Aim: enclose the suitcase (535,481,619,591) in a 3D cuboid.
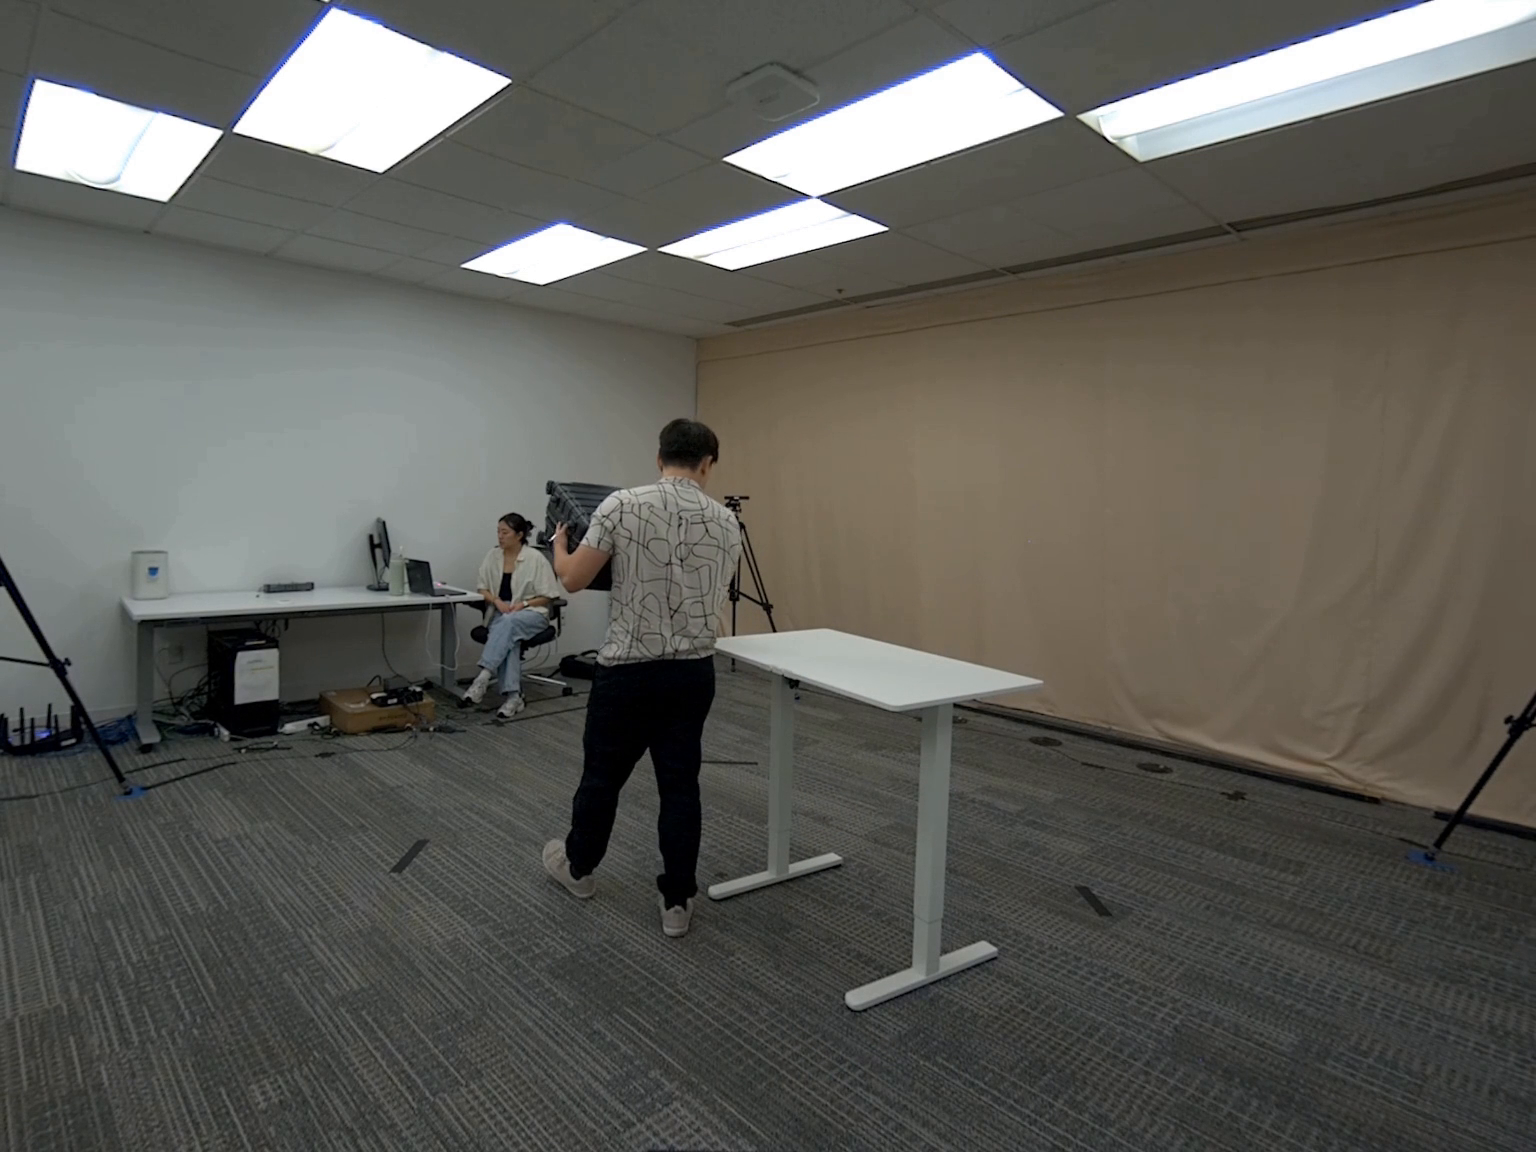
[{"bbox_3d":[-0.626,-0.155,3.039,0.368,0.246,0.565,5,17,-27],"label":"suitcase"}]
